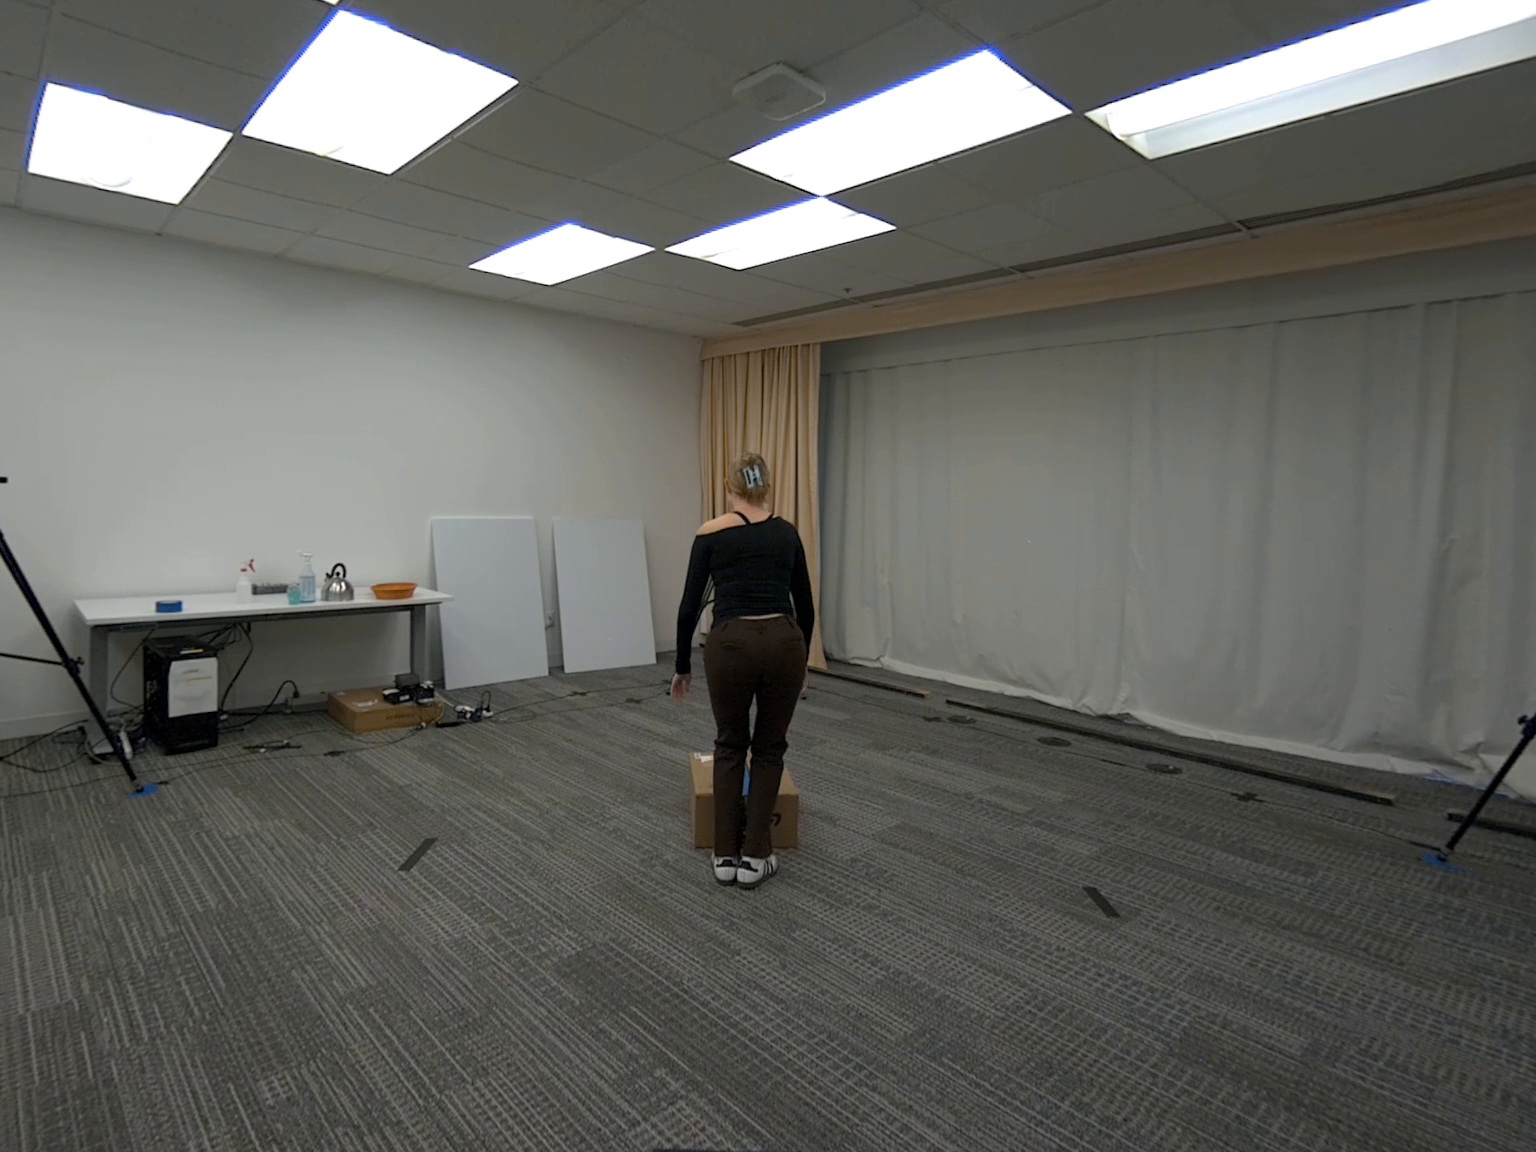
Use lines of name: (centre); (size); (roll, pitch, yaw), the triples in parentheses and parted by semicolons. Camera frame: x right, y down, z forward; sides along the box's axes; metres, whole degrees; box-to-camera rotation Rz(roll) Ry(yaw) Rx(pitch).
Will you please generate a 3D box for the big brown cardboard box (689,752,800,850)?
big brown cardboard box: (-0.125, 0.944, 3.621); (0.415, 0.232, 0.594); (1, 6, -7)
